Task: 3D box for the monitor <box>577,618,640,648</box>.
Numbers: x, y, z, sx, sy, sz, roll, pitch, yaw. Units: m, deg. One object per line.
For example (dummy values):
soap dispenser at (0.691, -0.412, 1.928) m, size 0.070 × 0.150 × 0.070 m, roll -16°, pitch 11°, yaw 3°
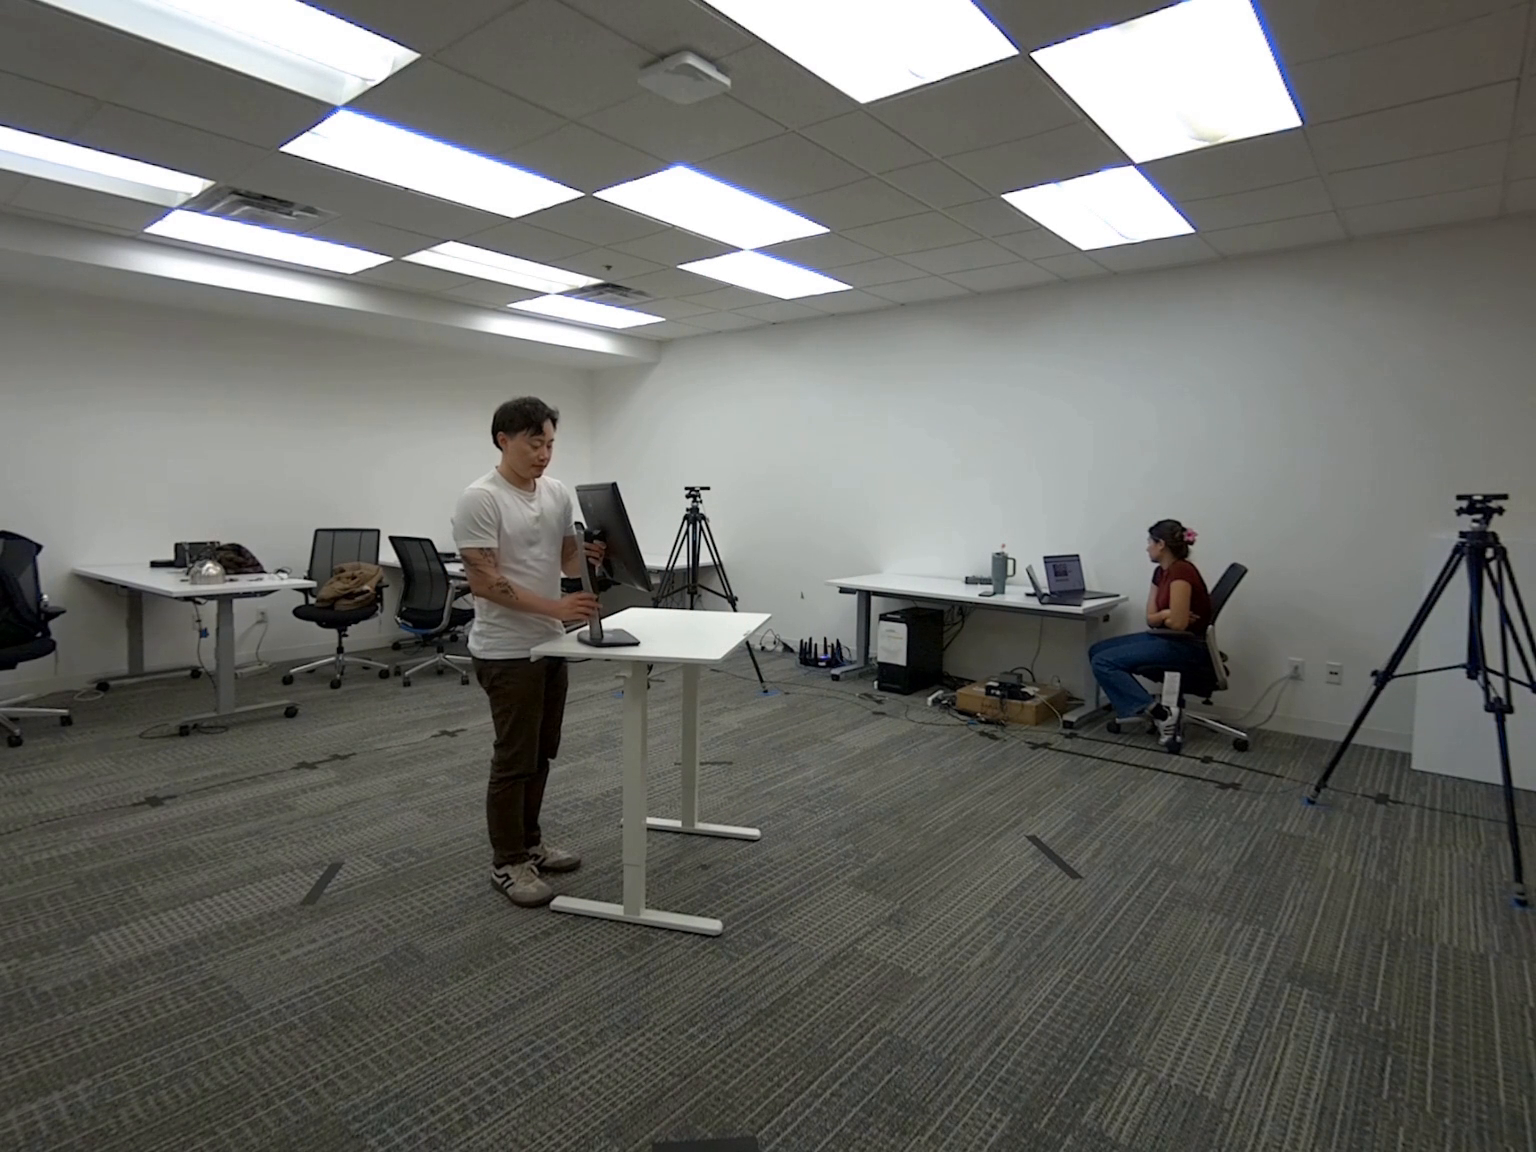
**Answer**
monitor at (-0.553, -0.044, 2.783) m, size 0.183 × 0.520 × 0.553 m, roll -5°, pitch 5°, yaw -24°
